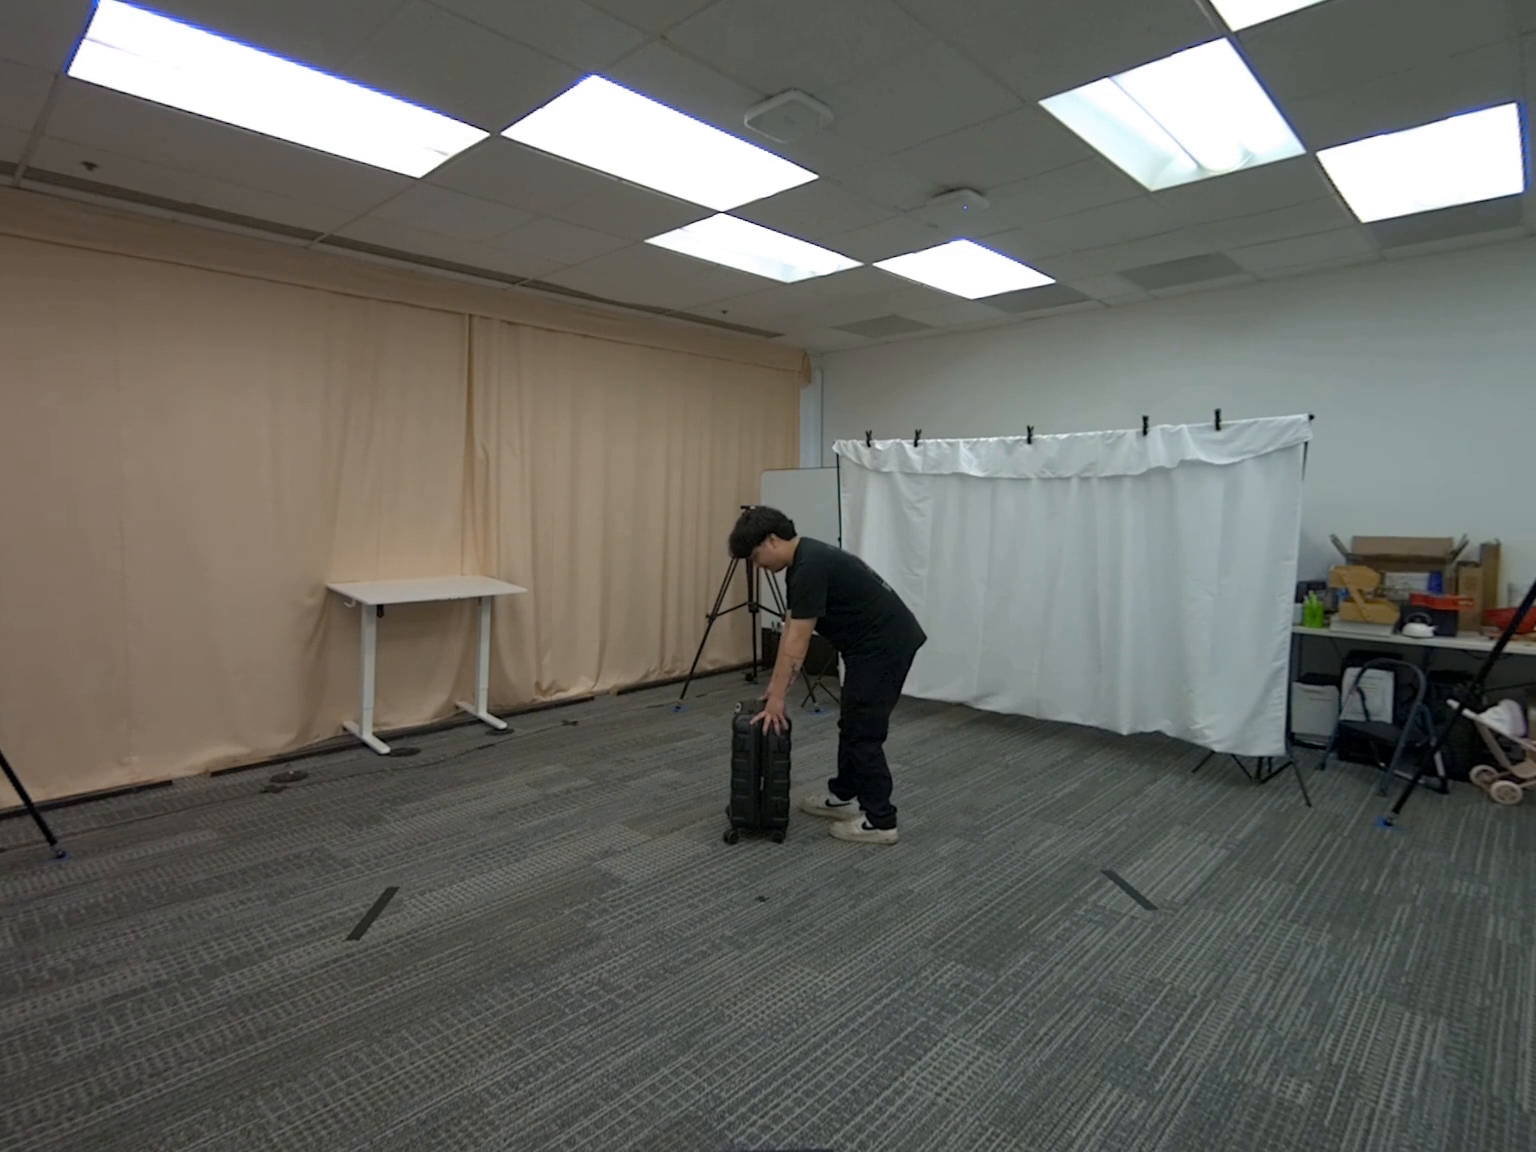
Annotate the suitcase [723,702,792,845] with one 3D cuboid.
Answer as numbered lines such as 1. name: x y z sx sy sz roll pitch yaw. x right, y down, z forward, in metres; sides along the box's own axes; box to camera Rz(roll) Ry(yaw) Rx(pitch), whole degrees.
1. suitcase: -0.027 0.815 3.623 0.249 0.548 0.375 2 3 1
